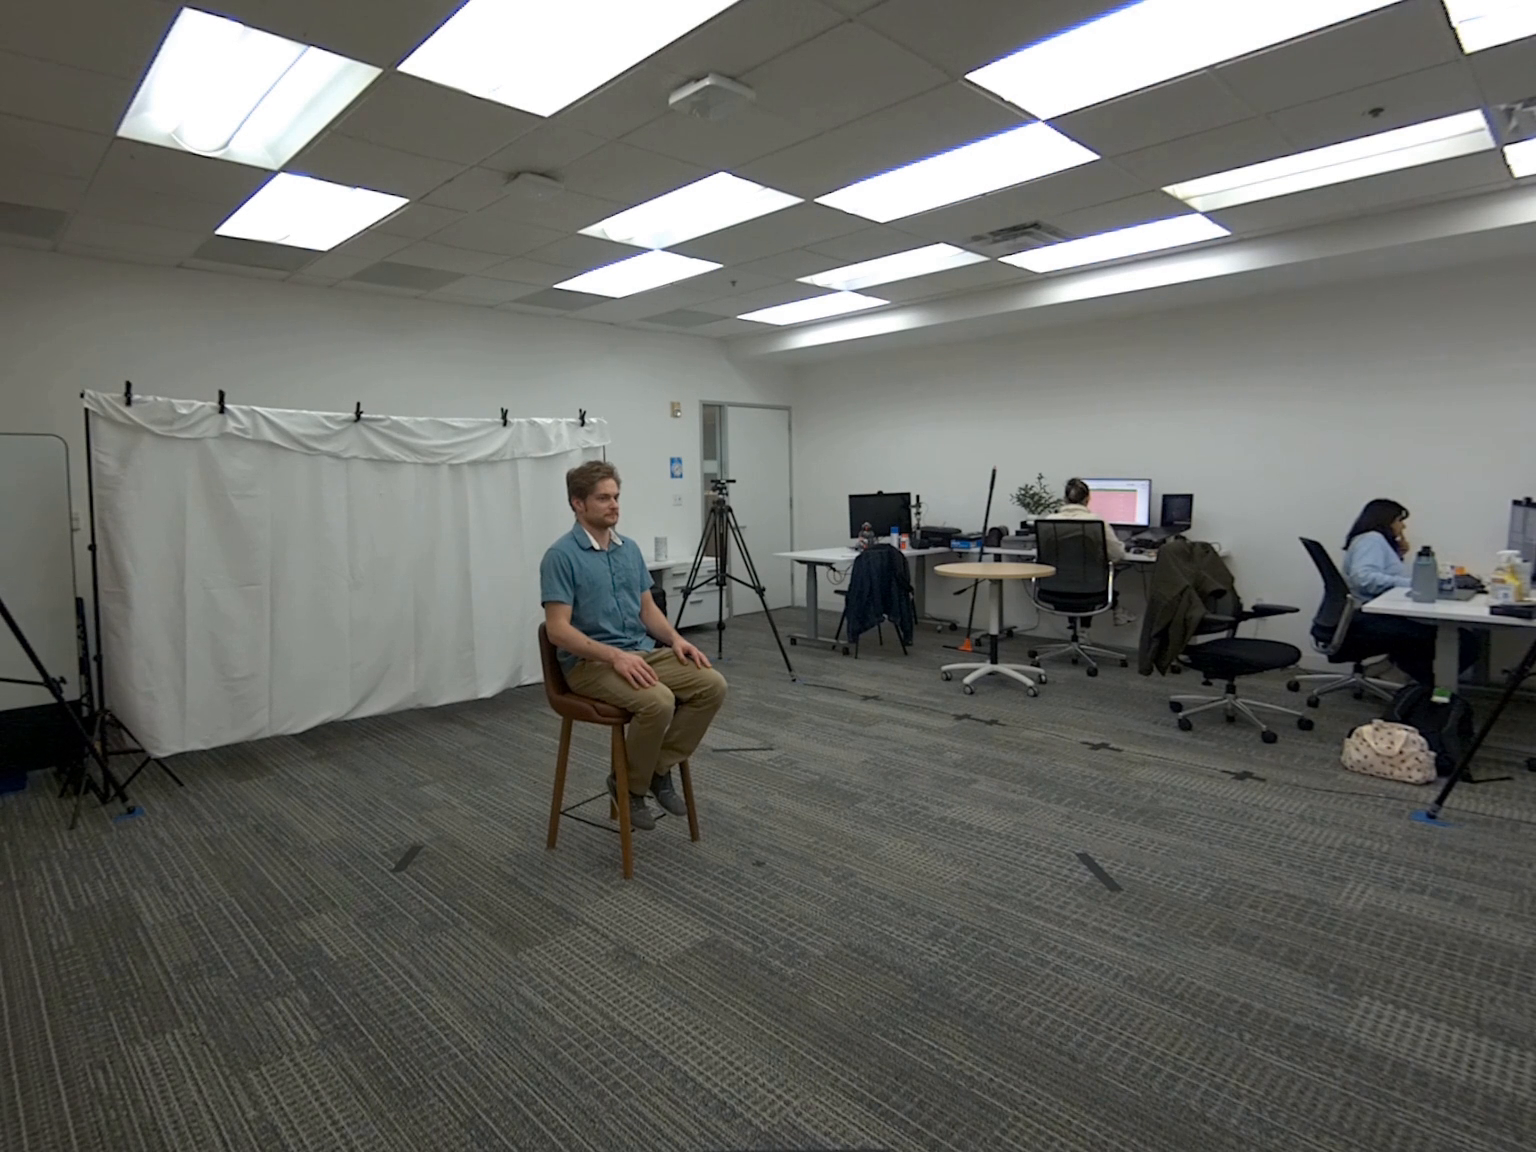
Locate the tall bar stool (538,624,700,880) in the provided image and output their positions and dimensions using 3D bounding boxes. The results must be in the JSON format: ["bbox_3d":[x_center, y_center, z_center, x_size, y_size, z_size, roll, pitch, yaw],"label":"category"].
[{"bbox_3d":[-0.579,0.601,3.284,0.480,0.888,0.445,-1,2,36],"label":"tall bar stool"}]
